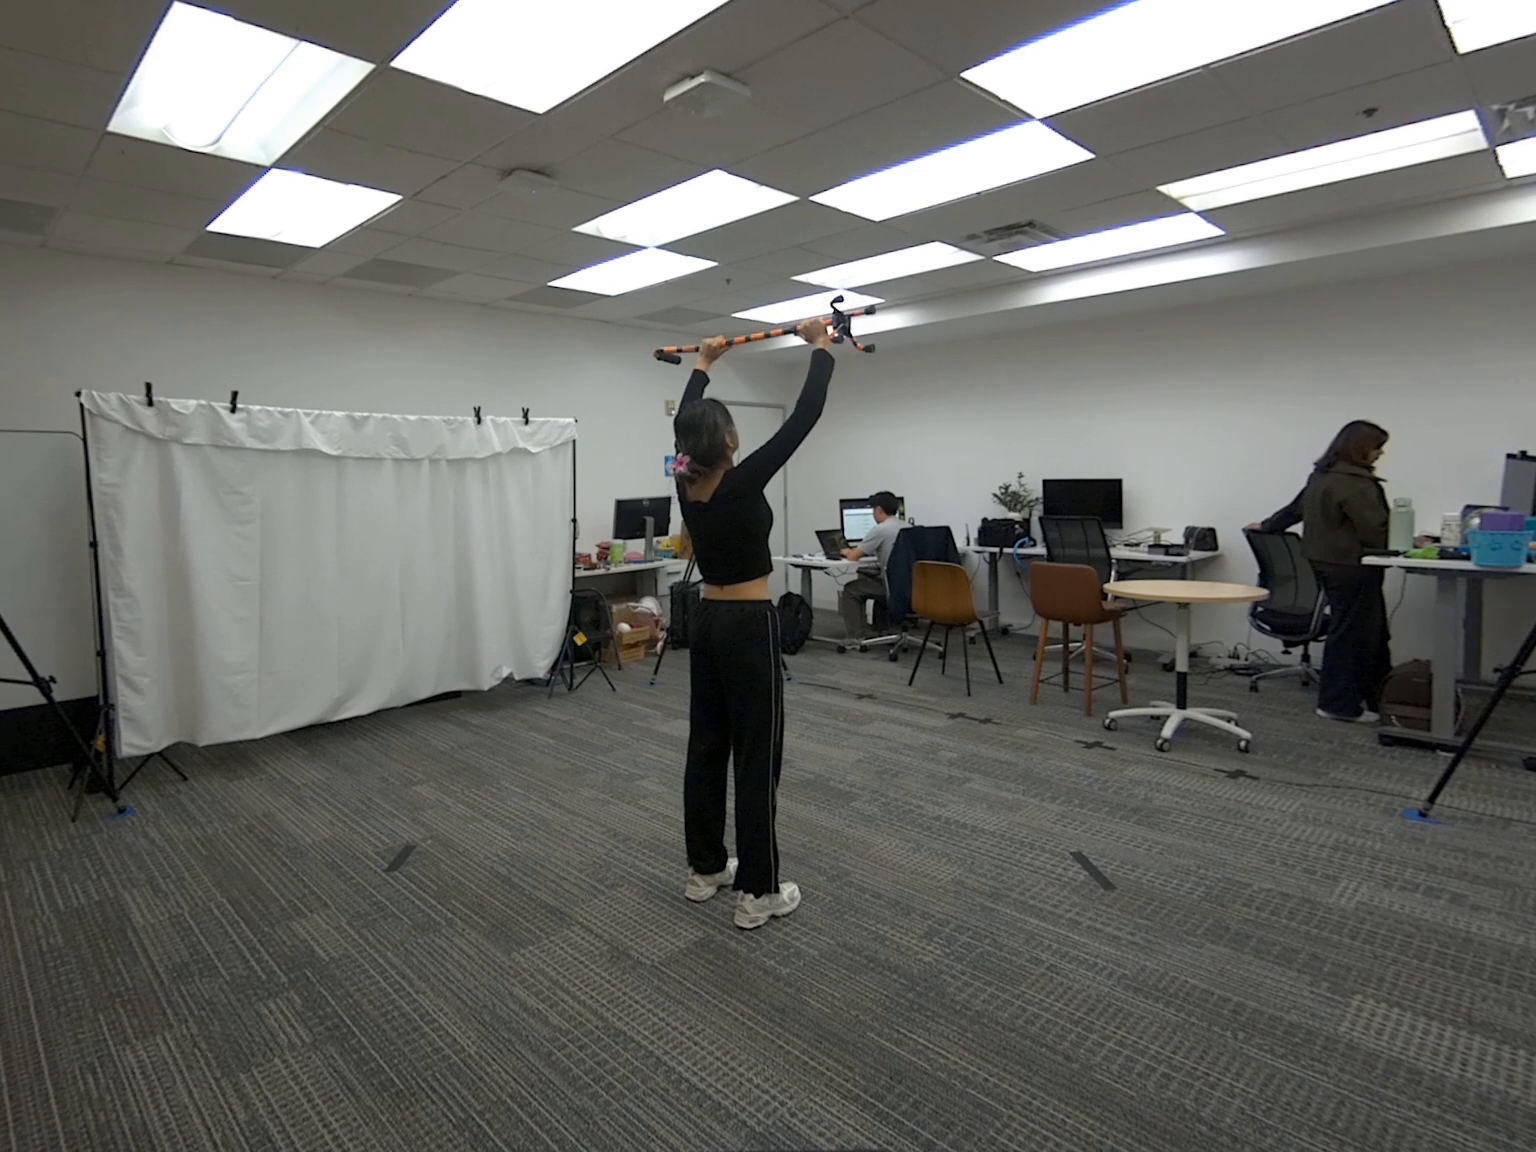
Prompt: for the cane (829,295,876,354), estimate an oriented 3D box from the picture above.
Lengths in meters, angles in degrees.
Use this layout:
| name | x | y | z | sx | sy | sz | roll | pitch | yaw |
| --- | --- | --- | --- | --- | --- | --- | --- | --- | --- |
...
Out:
| name | x | y | z | sx | sy | sz | roll | pitch | yaw |
| --- | --- | --- | --- | --- | --- | --- | --- | --- | --- |
| cane | -0.069 | -0.808 | 2.970 | 0.936 | 0.151 | 0.200 | 4 | 3 | 42 |
